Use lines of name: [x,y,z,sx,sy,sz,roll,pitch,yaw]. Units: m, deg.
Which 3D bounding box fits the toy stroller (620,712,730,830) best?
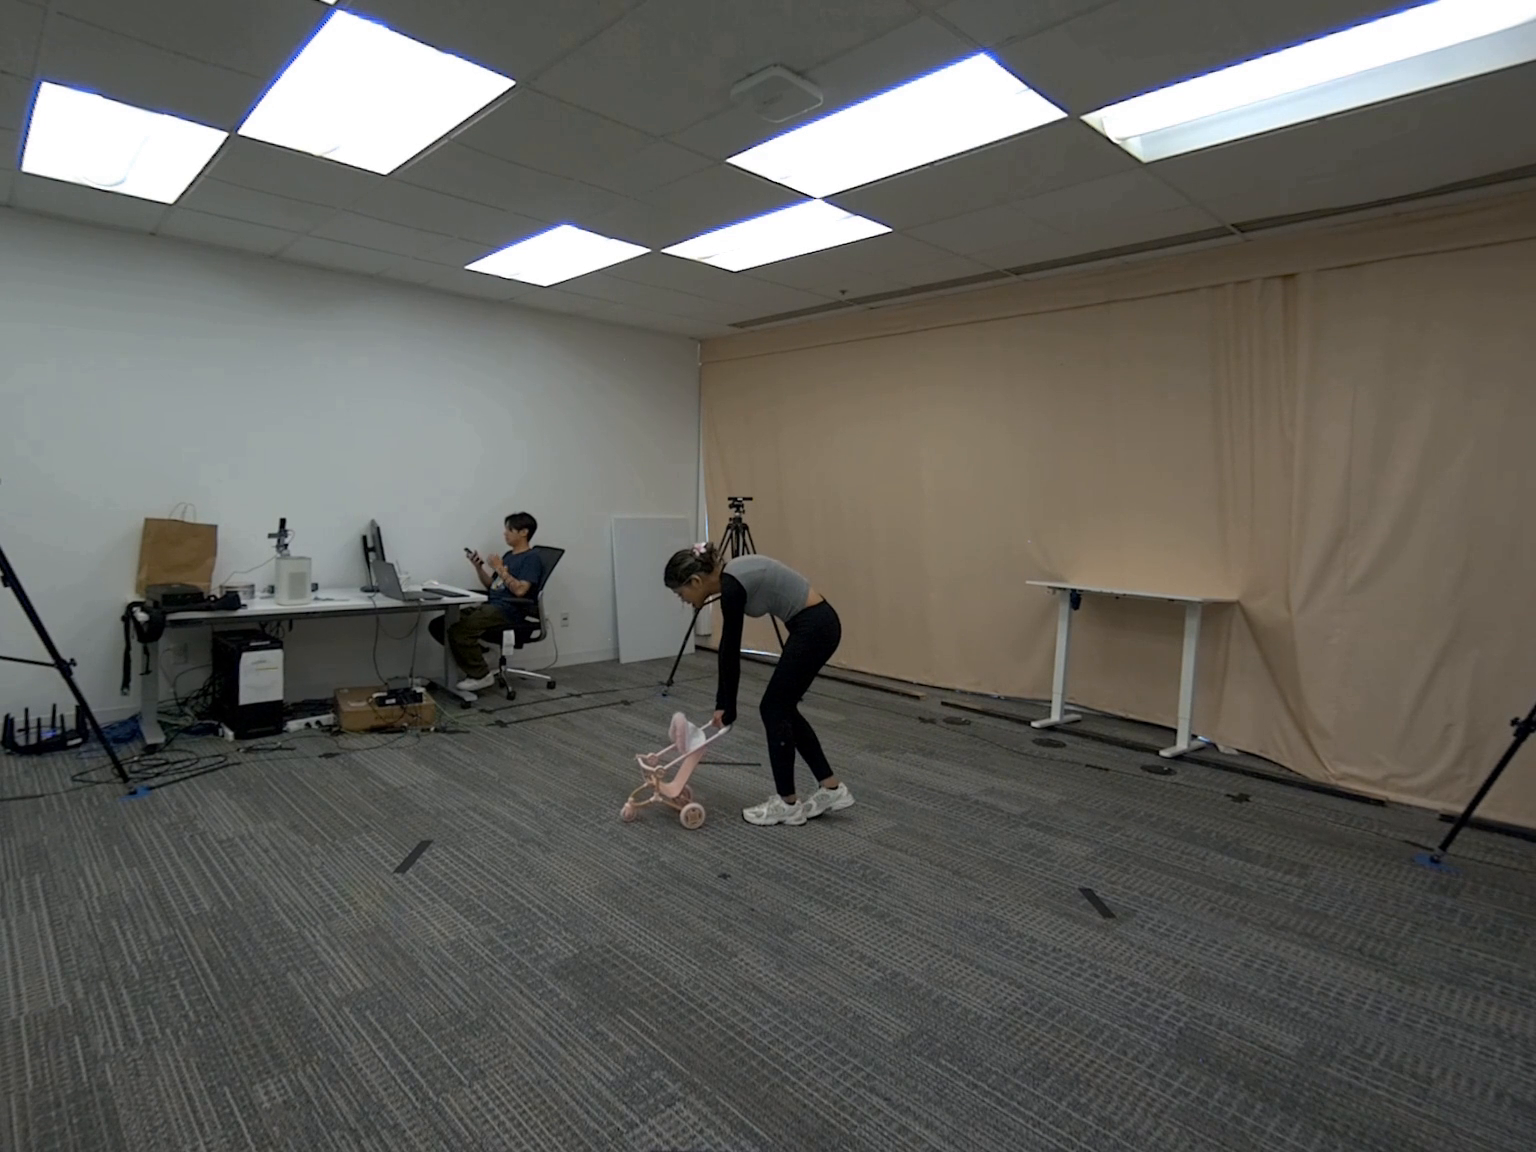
toy stroller: [-0.419,0.831,3.643,0.337,0.535,0.284,17,-1,-12]
